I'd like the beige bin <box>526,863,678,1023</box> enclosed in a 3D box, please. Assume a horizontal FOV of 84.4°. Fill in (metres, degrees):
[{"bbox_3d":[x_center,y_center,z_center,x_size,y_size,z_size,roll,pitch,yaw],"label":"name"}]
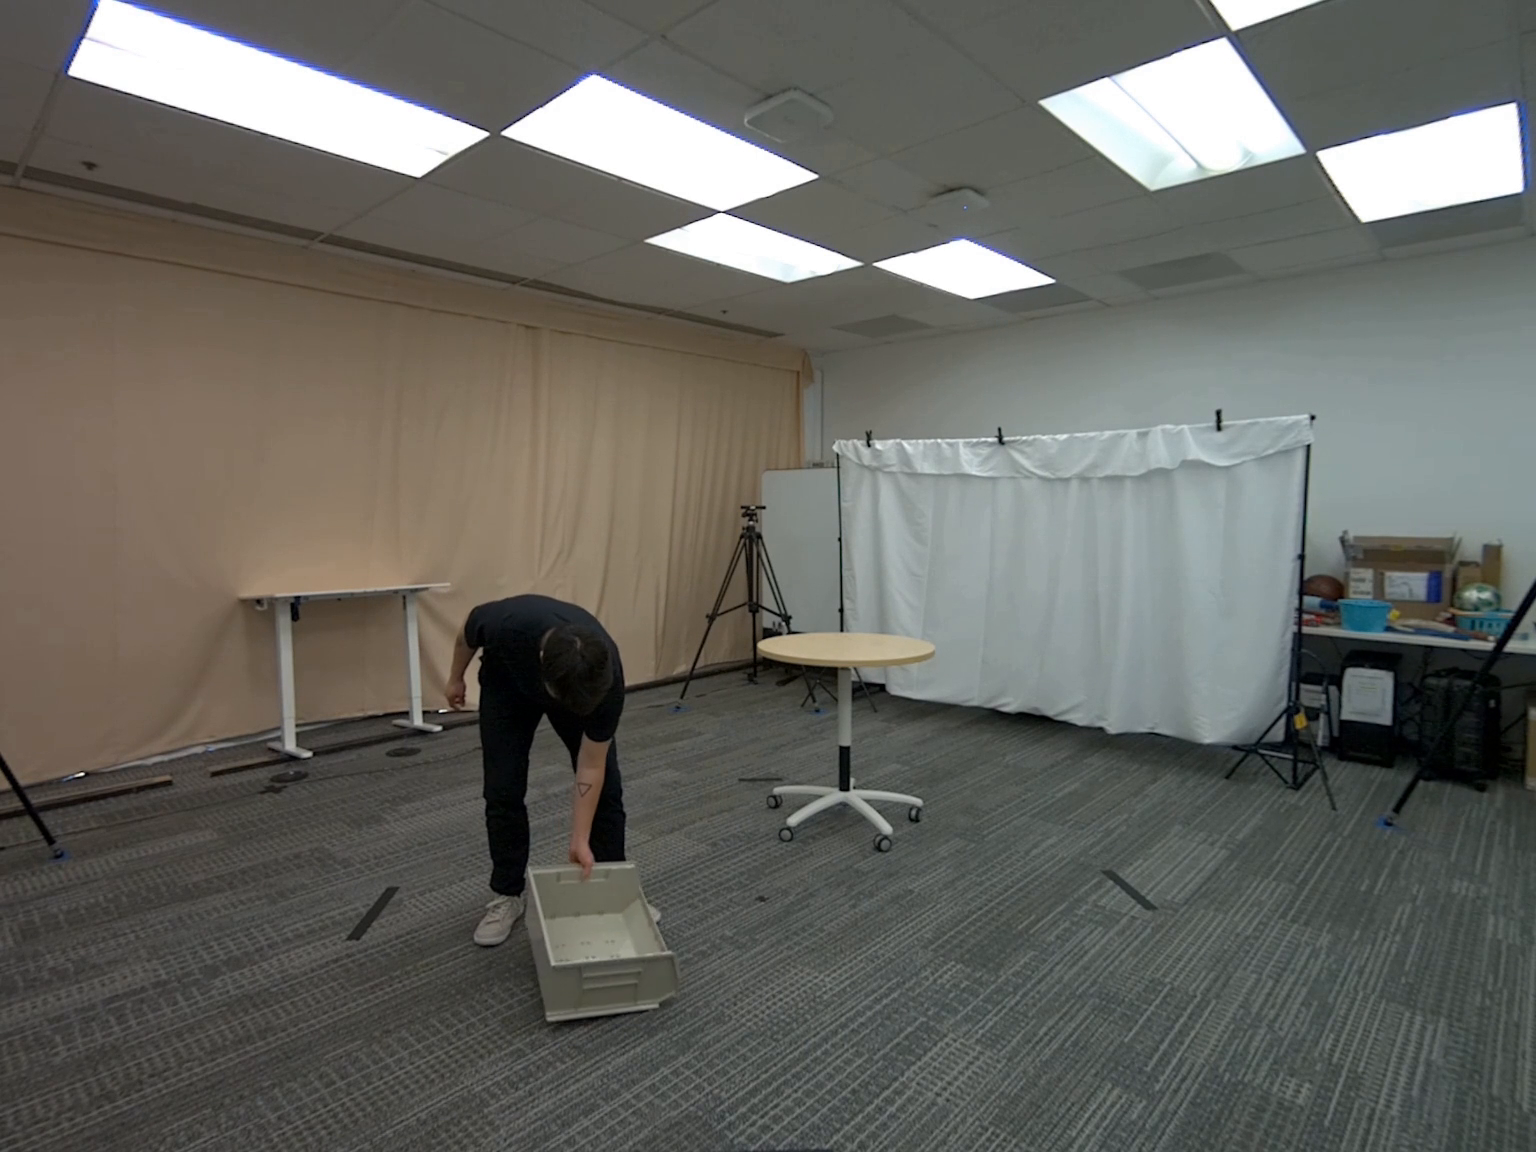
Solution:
[{"bbox_3d":[-0.487,1.035,2.443,0.368,0.188,0.435,3,15,-24],"label":"beige bin"}]
